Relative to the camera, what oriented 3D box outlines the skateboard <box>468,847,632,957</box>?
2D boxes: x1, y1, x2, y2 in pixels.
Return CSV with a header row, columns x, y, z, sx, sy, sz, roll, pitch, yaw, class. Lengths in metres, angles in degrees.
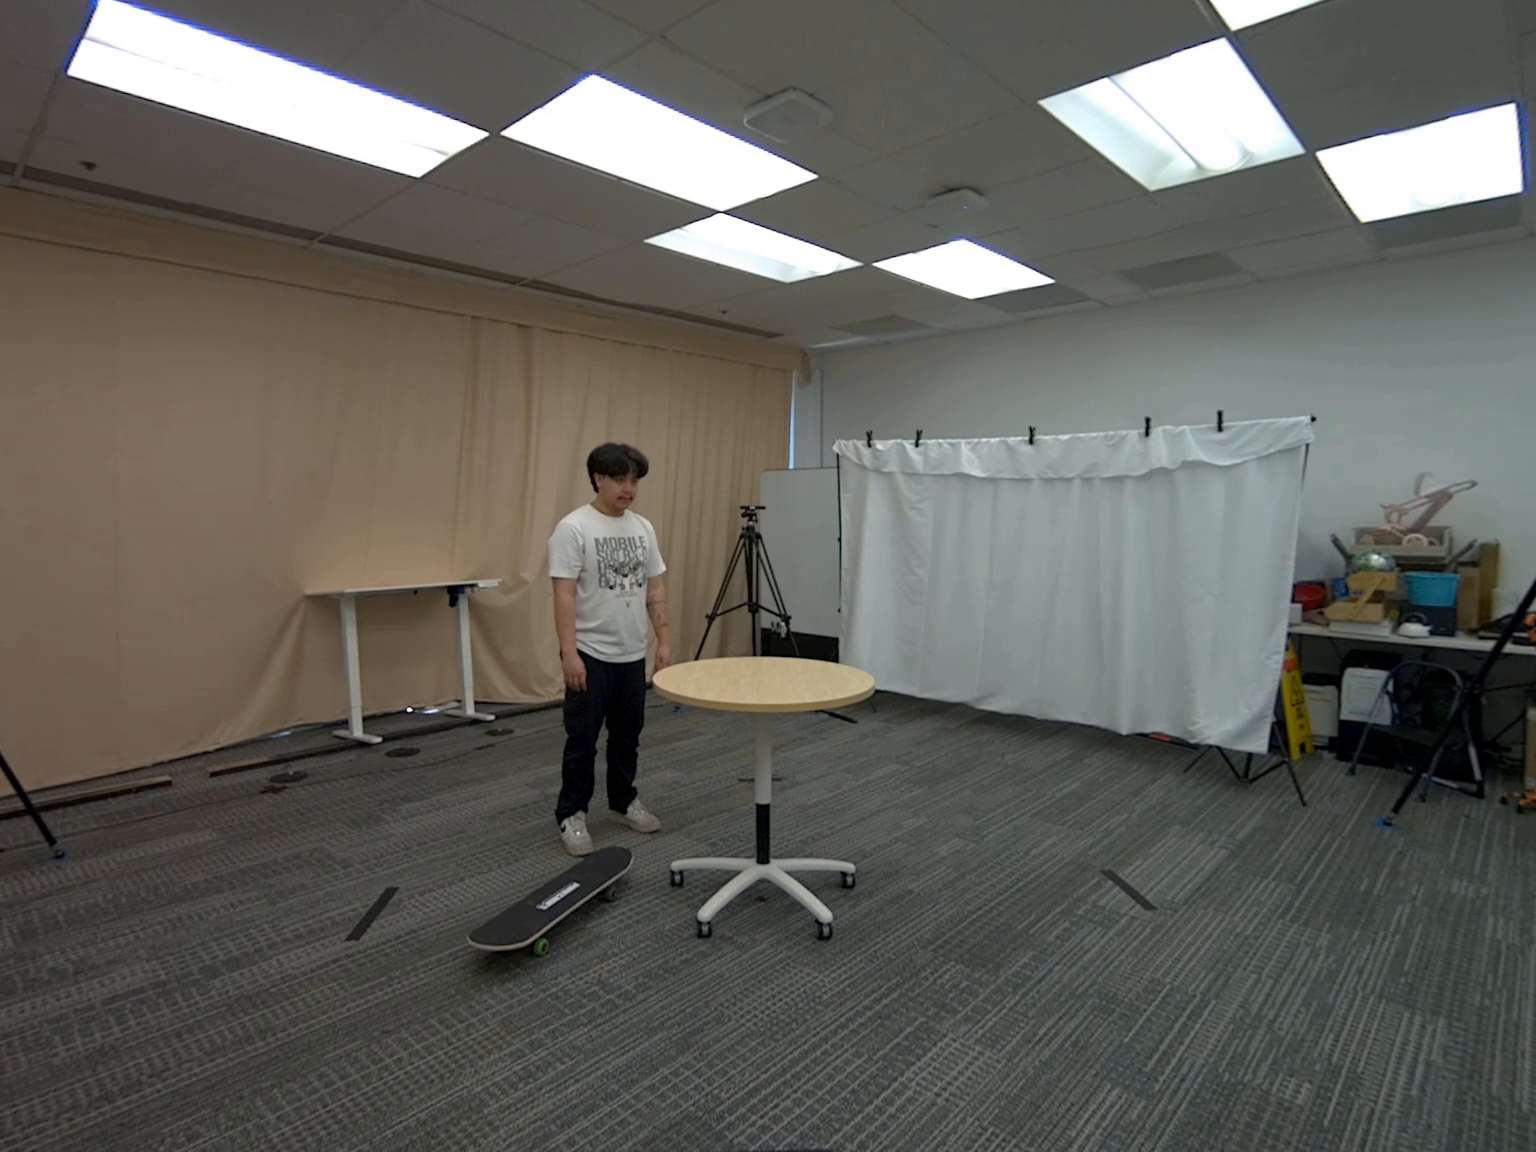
x,y,z,sx,sy,sz,roll,pitch,yaw,class
-0.701,1.104,2.831,0.198,0.110,0.768,2,5,23,skateboard
